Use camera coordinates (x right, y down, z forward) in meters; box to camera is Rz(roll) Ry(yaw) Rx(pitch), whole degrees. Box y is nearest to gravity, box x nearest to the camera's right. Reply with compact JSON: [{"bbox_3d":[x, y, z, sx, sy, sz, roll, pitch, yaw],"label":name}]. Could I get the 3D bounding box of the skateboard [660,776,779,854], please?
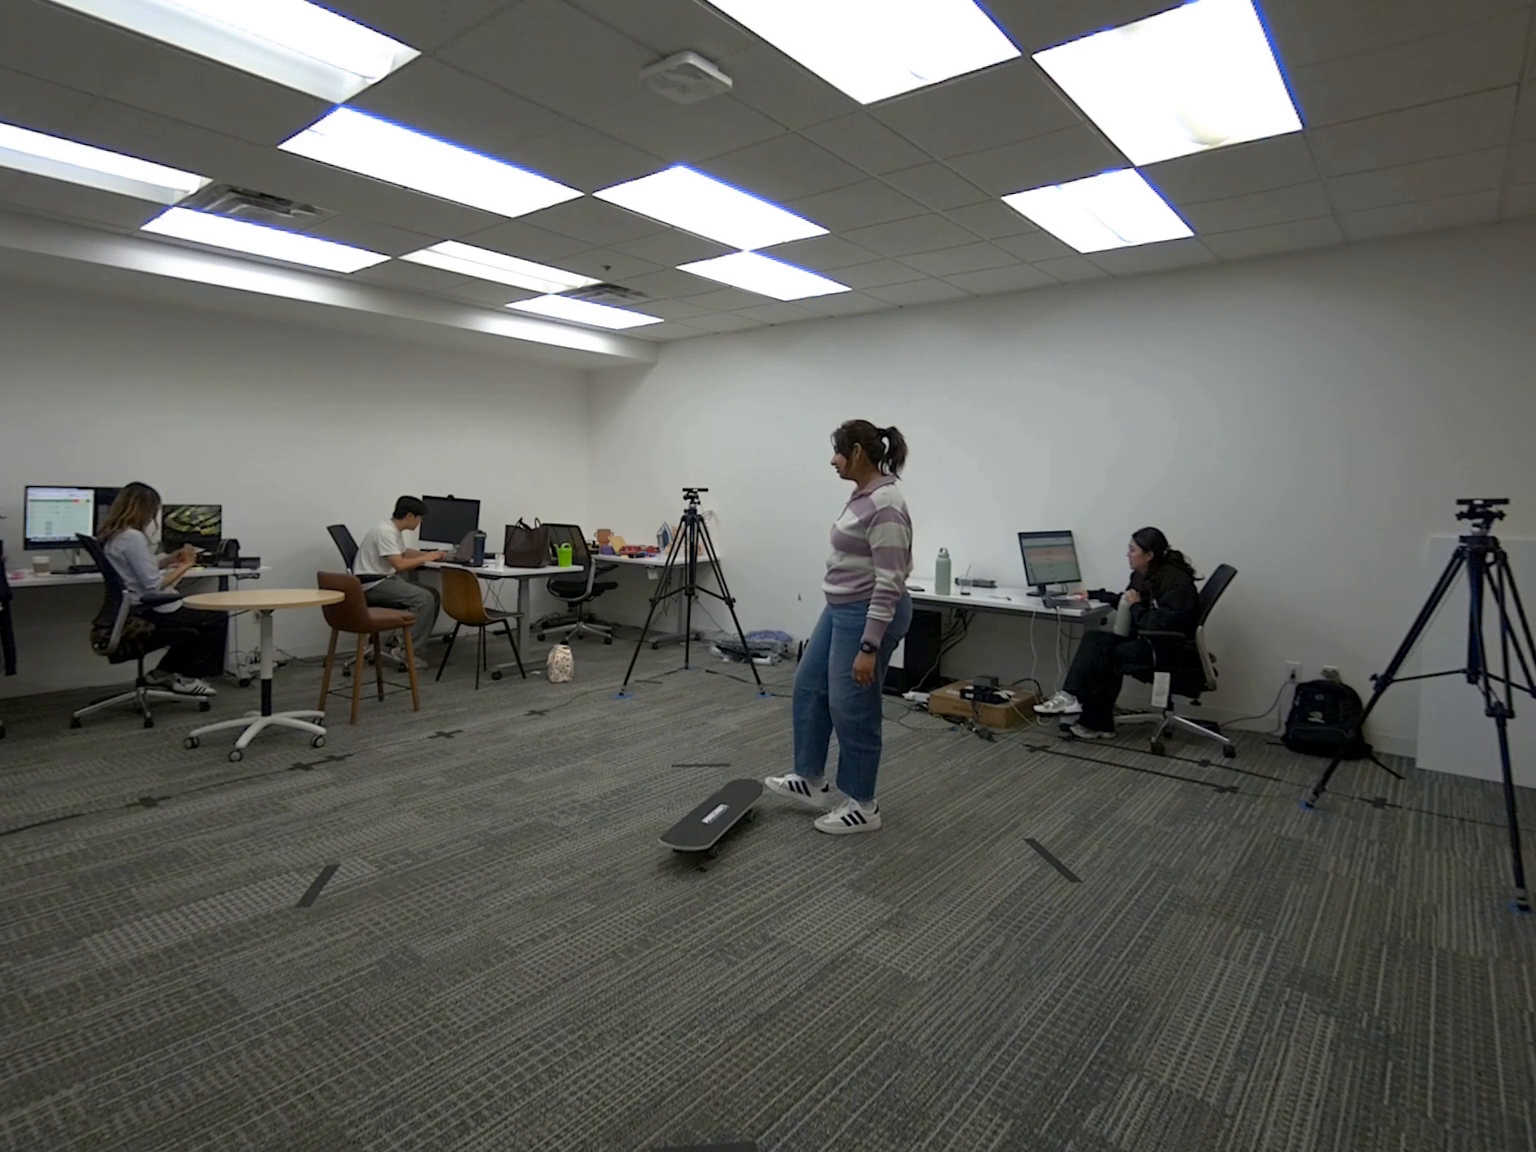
[{"bbox_3d":[-0.214,0.982,3.414,0.198,0.110,0.771,3,6,20],"label":"skateboard"}]
